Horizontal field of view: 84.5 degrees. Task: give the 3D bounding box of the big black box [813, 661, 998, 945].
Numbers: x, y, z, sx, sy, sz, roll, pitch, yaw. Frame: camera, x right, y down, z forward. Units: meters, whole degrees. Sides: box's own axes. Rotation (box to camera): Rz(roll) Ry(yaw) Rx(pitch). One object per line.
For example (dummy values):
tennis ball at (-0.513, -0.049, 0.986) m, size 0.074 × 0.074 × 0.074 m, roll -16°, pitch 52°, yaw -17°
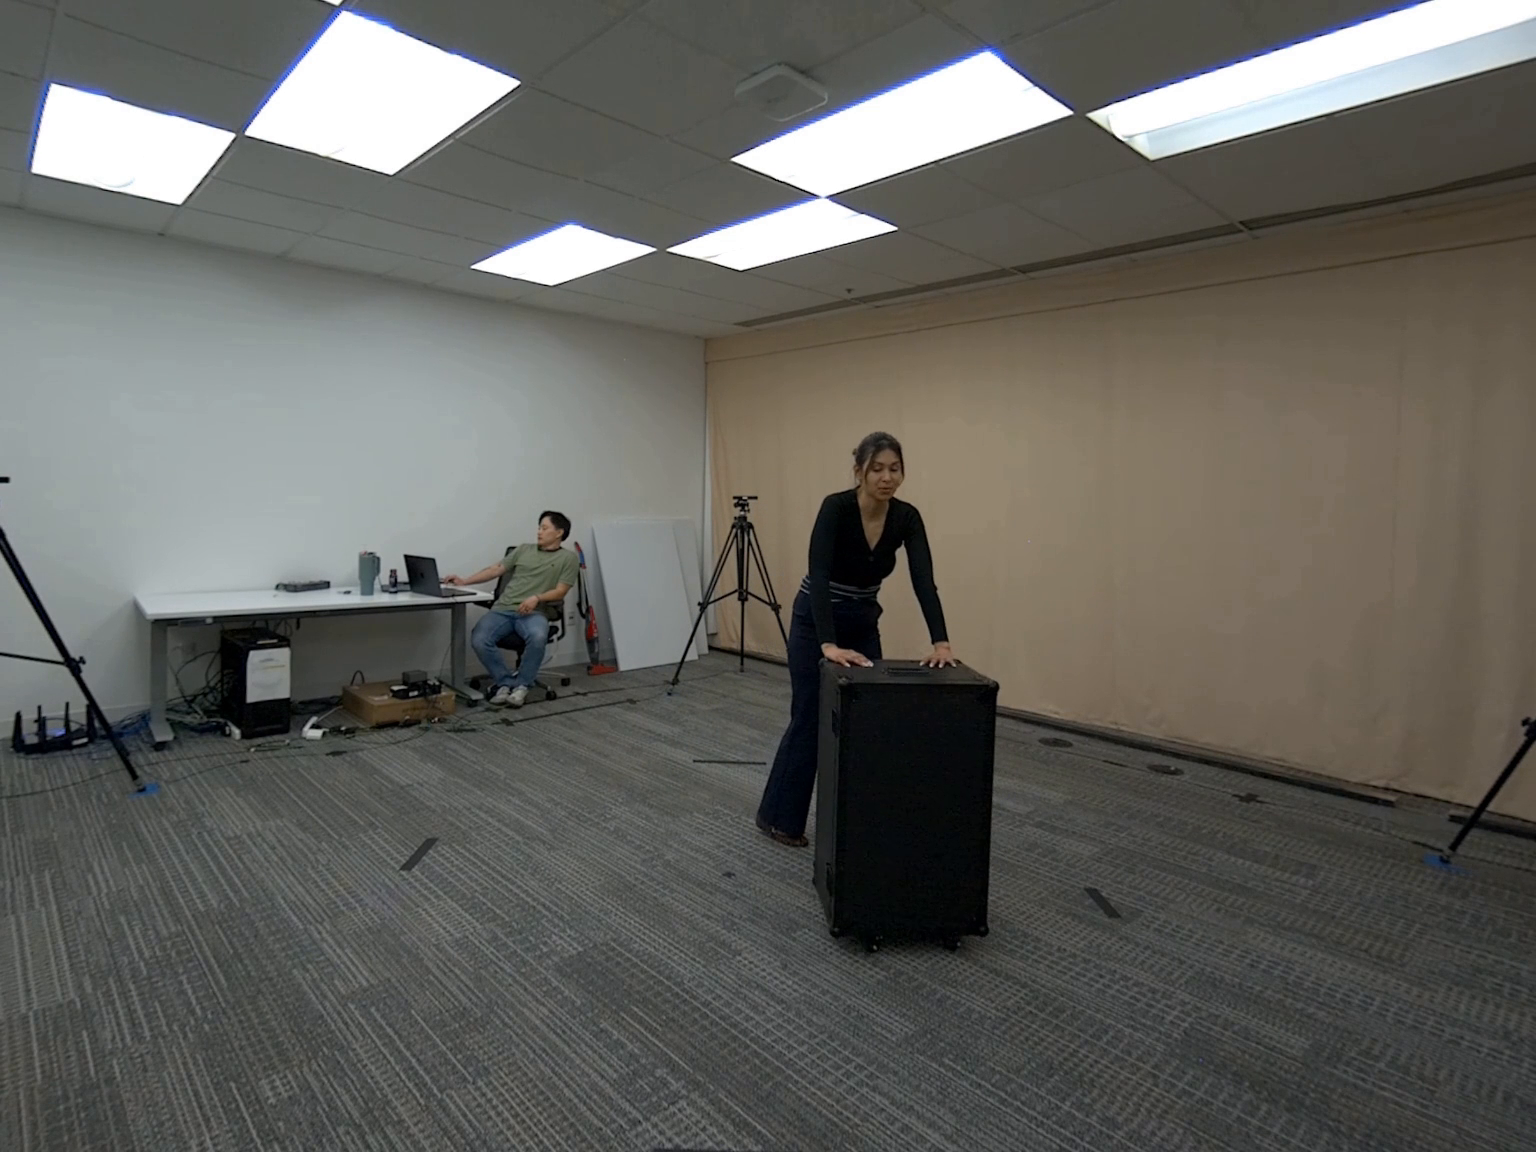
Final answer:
big black box at (0.416, 0.727, 2.720) m, size 0.519 × 0.859 × 0.399 m, roll 0°, pitch 4°, yaw -5°
